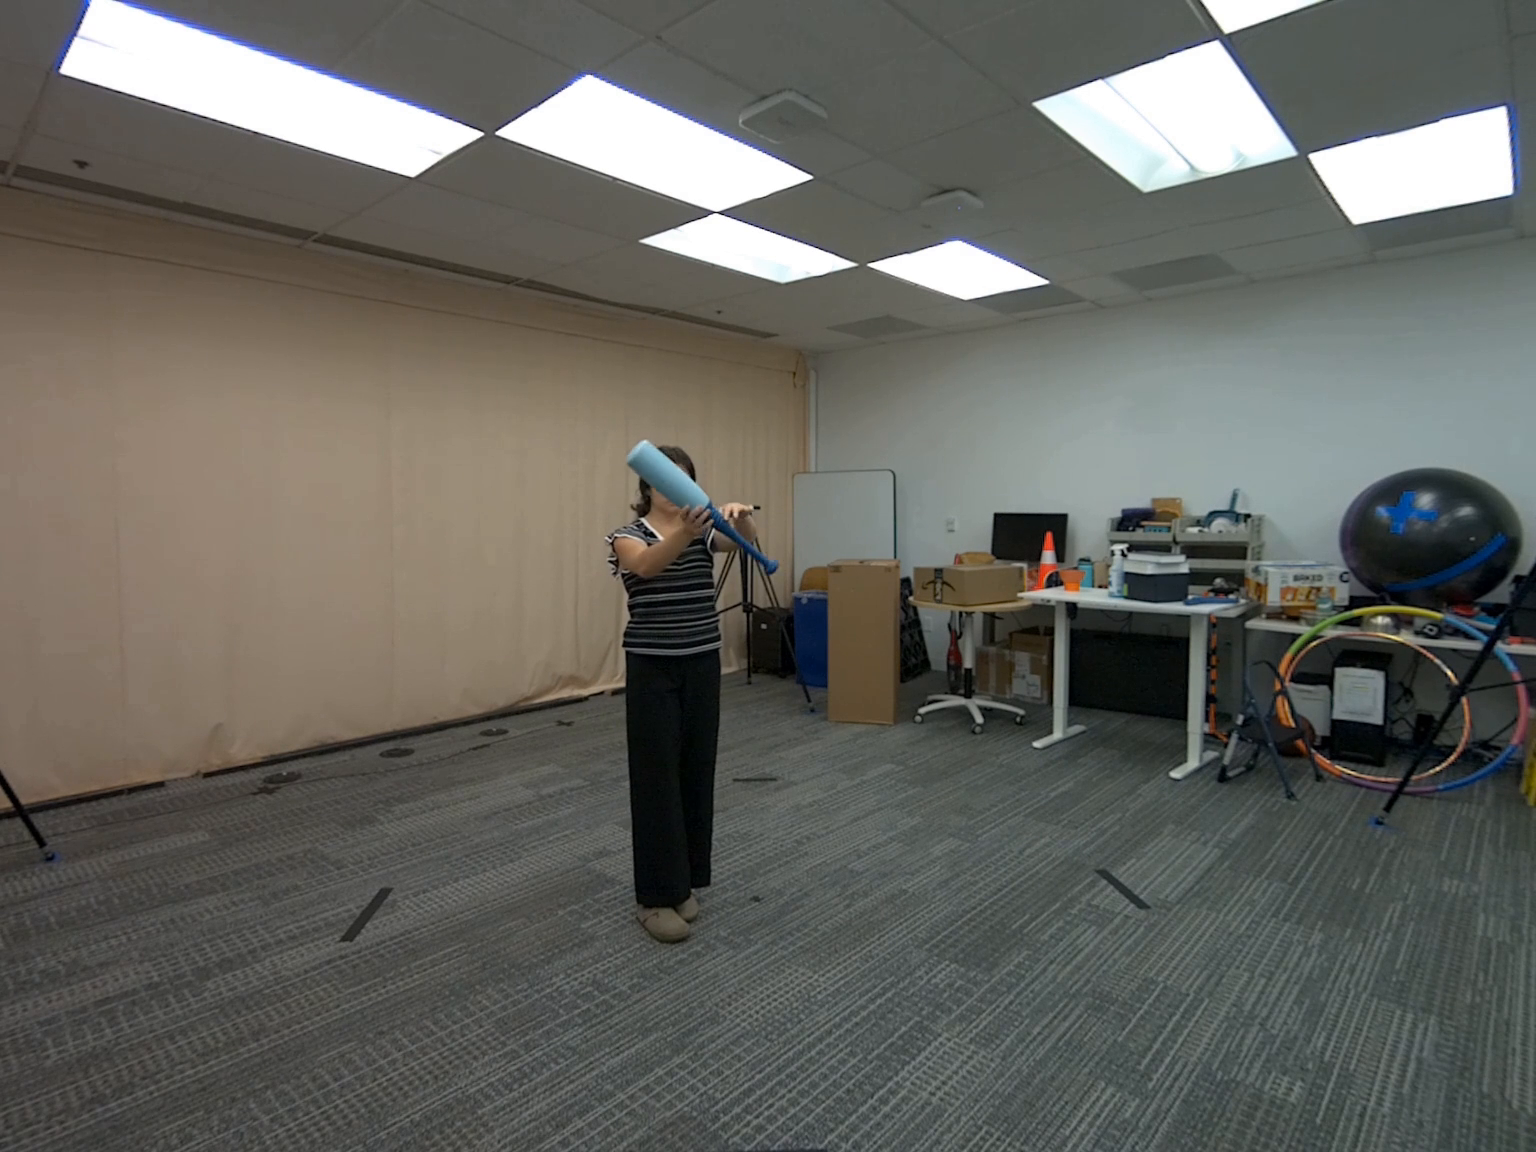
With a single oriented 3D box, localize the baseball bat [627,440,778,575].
[{"bbox_3d":[-0.172,-0.173,2.356,0.532,0.089,0.091,41,-11,-17],"label":"baseball bat"}]
